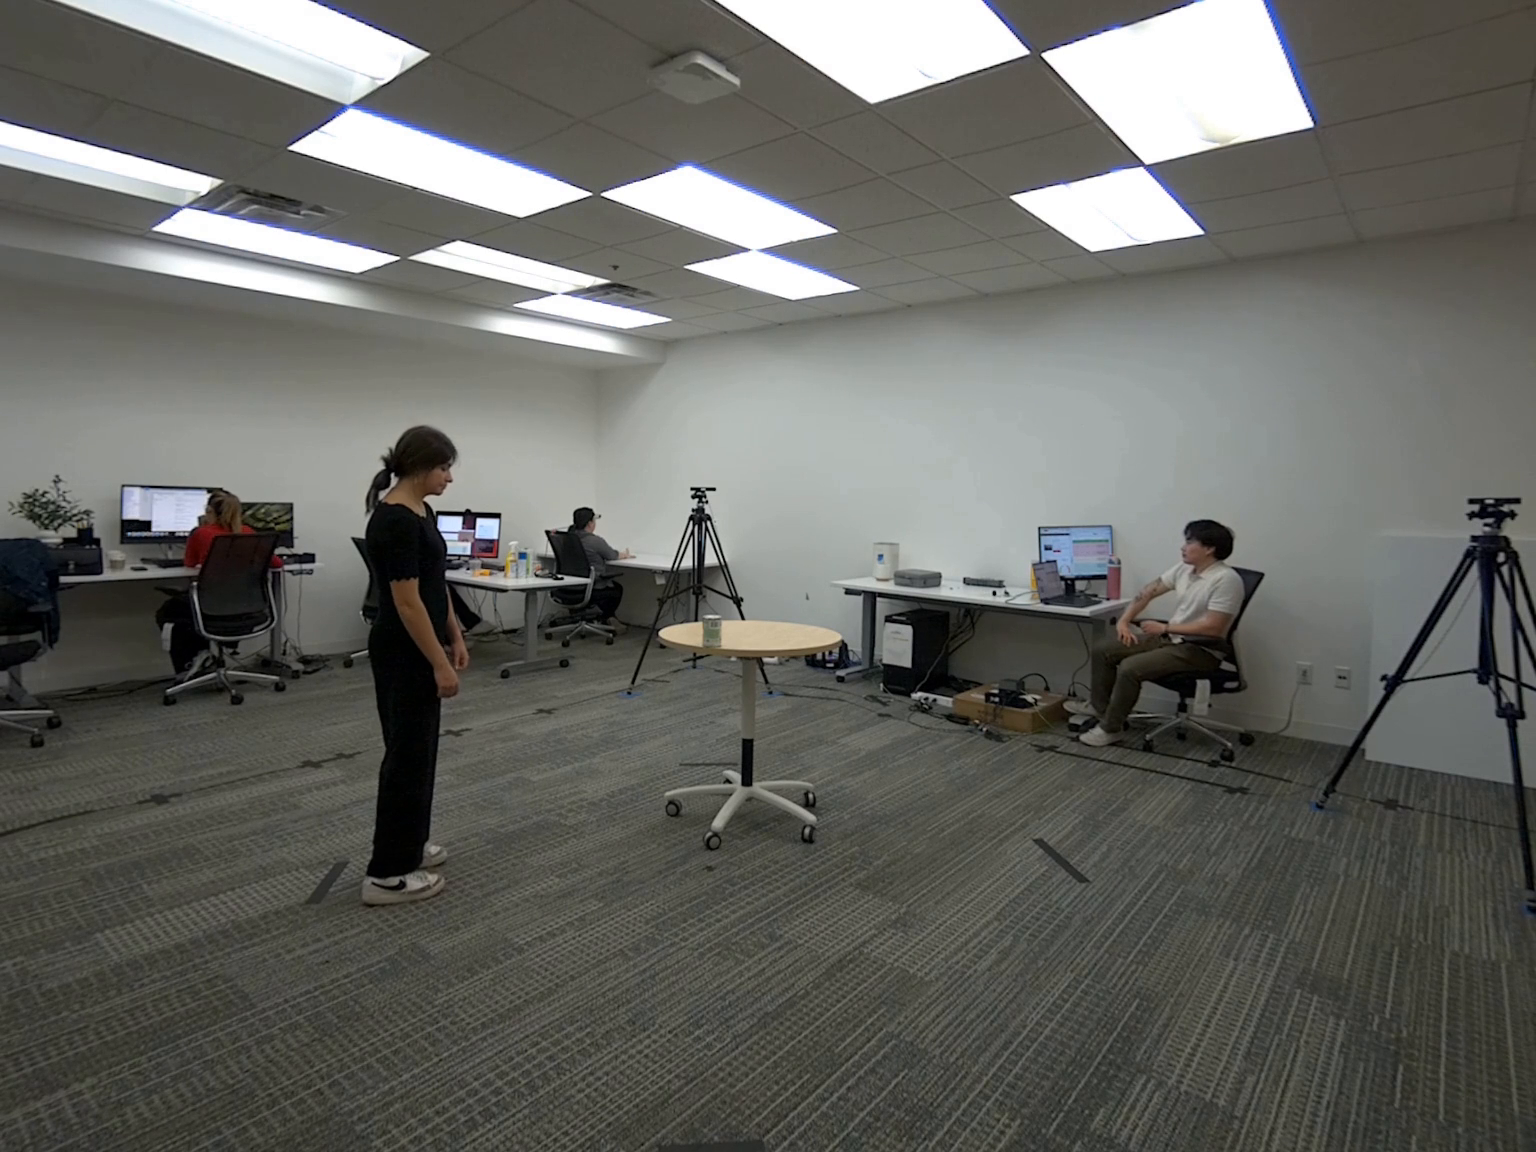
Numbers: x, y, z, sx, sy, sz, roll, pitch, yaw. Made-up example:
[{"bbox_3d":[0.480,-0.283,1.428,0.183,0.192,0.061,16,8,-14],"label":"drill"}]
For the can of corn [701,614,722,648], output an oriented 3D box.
[{"bbox_3d":[-0.229,0.212,3.266,0.074,0.111,0.074,1,3,-2],"label":"can of corn"}]
